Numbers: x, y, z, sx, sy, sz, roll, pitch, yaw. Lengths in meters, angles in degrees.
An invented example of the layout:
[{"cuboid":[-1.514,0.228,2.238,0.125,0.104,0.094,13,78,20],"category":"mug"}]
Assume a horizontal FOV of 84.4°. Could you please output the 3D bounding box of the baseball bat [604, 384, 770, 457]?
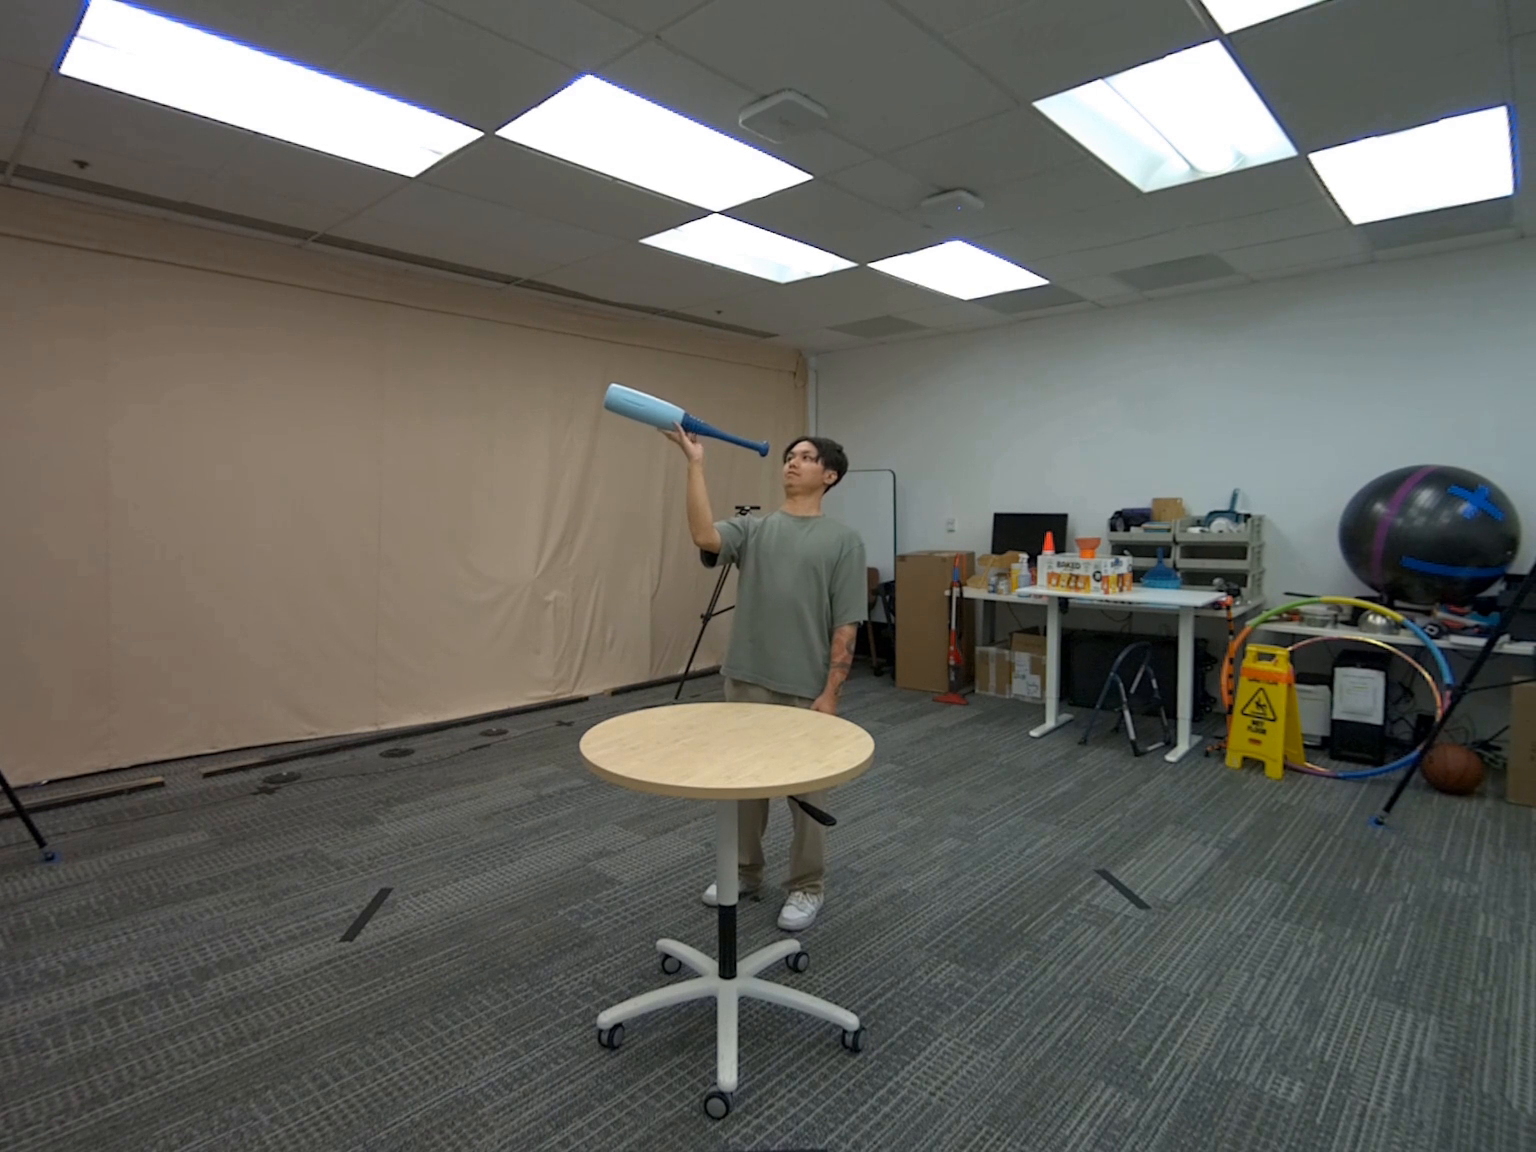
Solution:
[{"cuboid":[-0.253,-0.478,2.661,0.539,0.089,0.089,18,2,-5],"category":"baseball bat"}]
